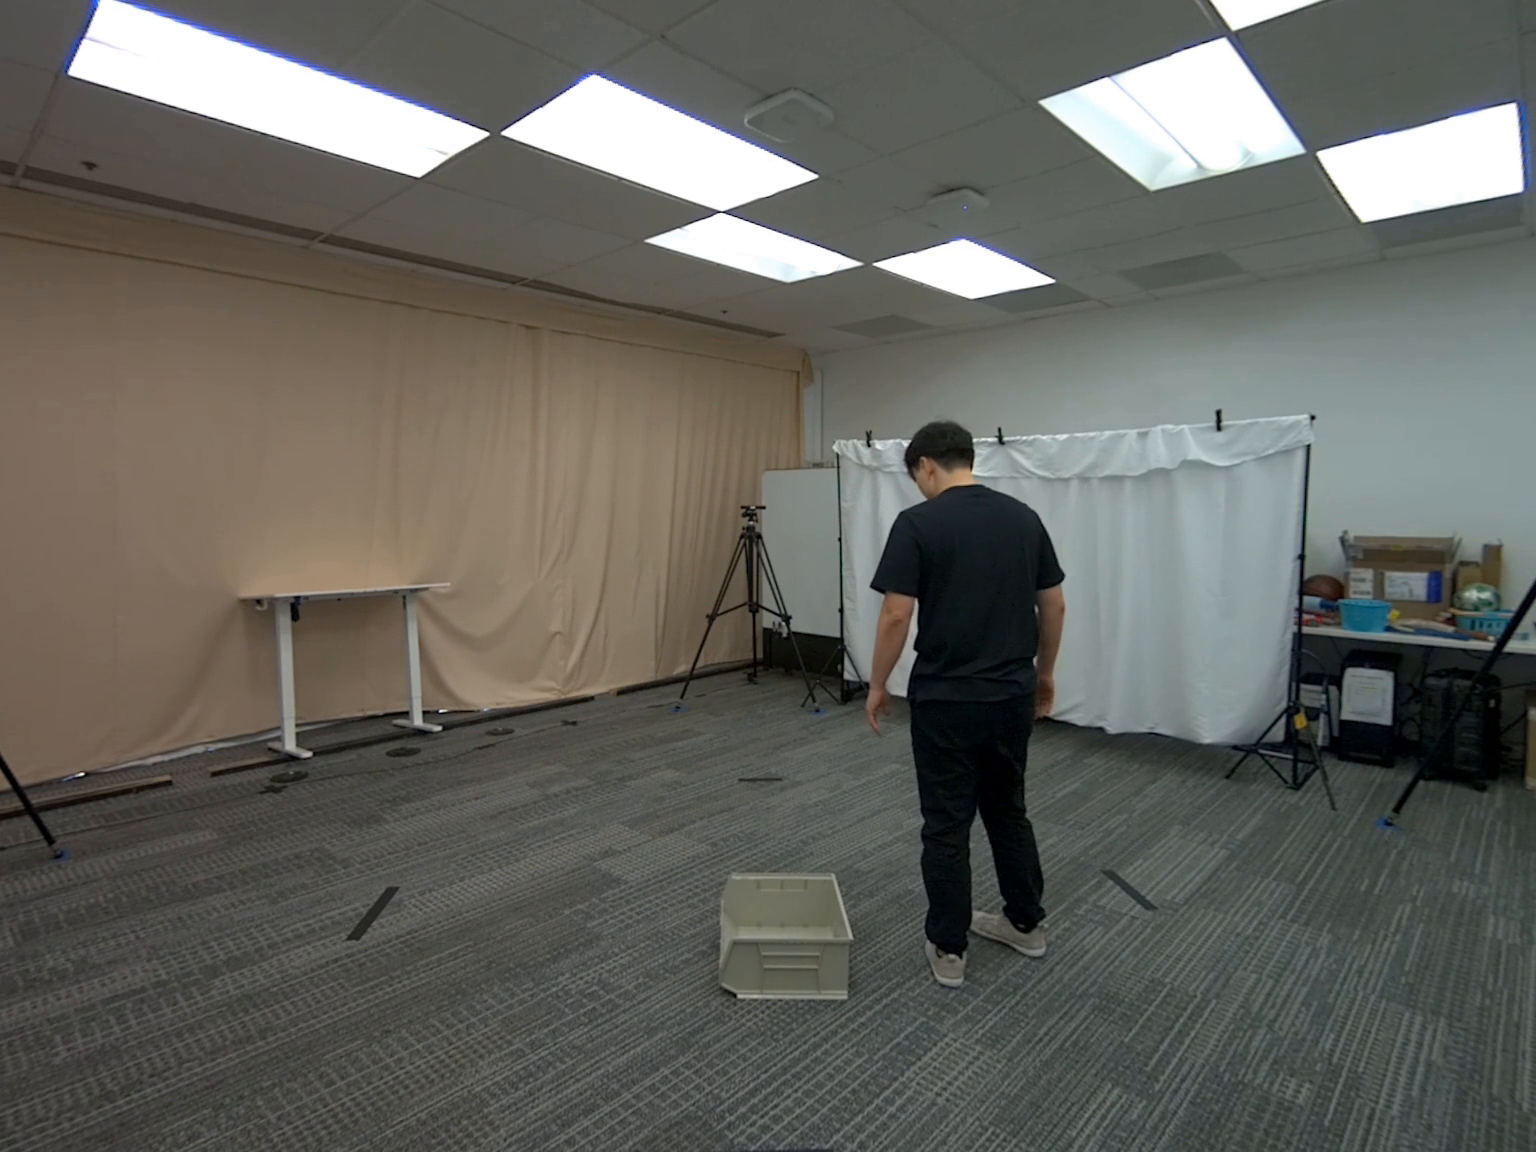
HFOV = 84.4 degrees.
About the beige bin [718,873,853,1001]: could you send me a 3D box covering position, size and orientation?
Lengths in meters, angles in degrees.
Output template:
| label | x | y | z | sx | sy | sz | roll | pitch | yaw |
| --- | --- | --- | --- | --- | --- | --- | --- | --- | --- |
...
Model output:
| label | x | y | z | sx | sy | sz | roll | pitch | yaw |
| --- | --- | --- | --- | --- | --- | --- | --- | --- | --- |
| beige bin | 0.047 | 1.088 | 2.570 | 0.377 | 0.189 | 0.423 | 1 | 3 | -2 |
